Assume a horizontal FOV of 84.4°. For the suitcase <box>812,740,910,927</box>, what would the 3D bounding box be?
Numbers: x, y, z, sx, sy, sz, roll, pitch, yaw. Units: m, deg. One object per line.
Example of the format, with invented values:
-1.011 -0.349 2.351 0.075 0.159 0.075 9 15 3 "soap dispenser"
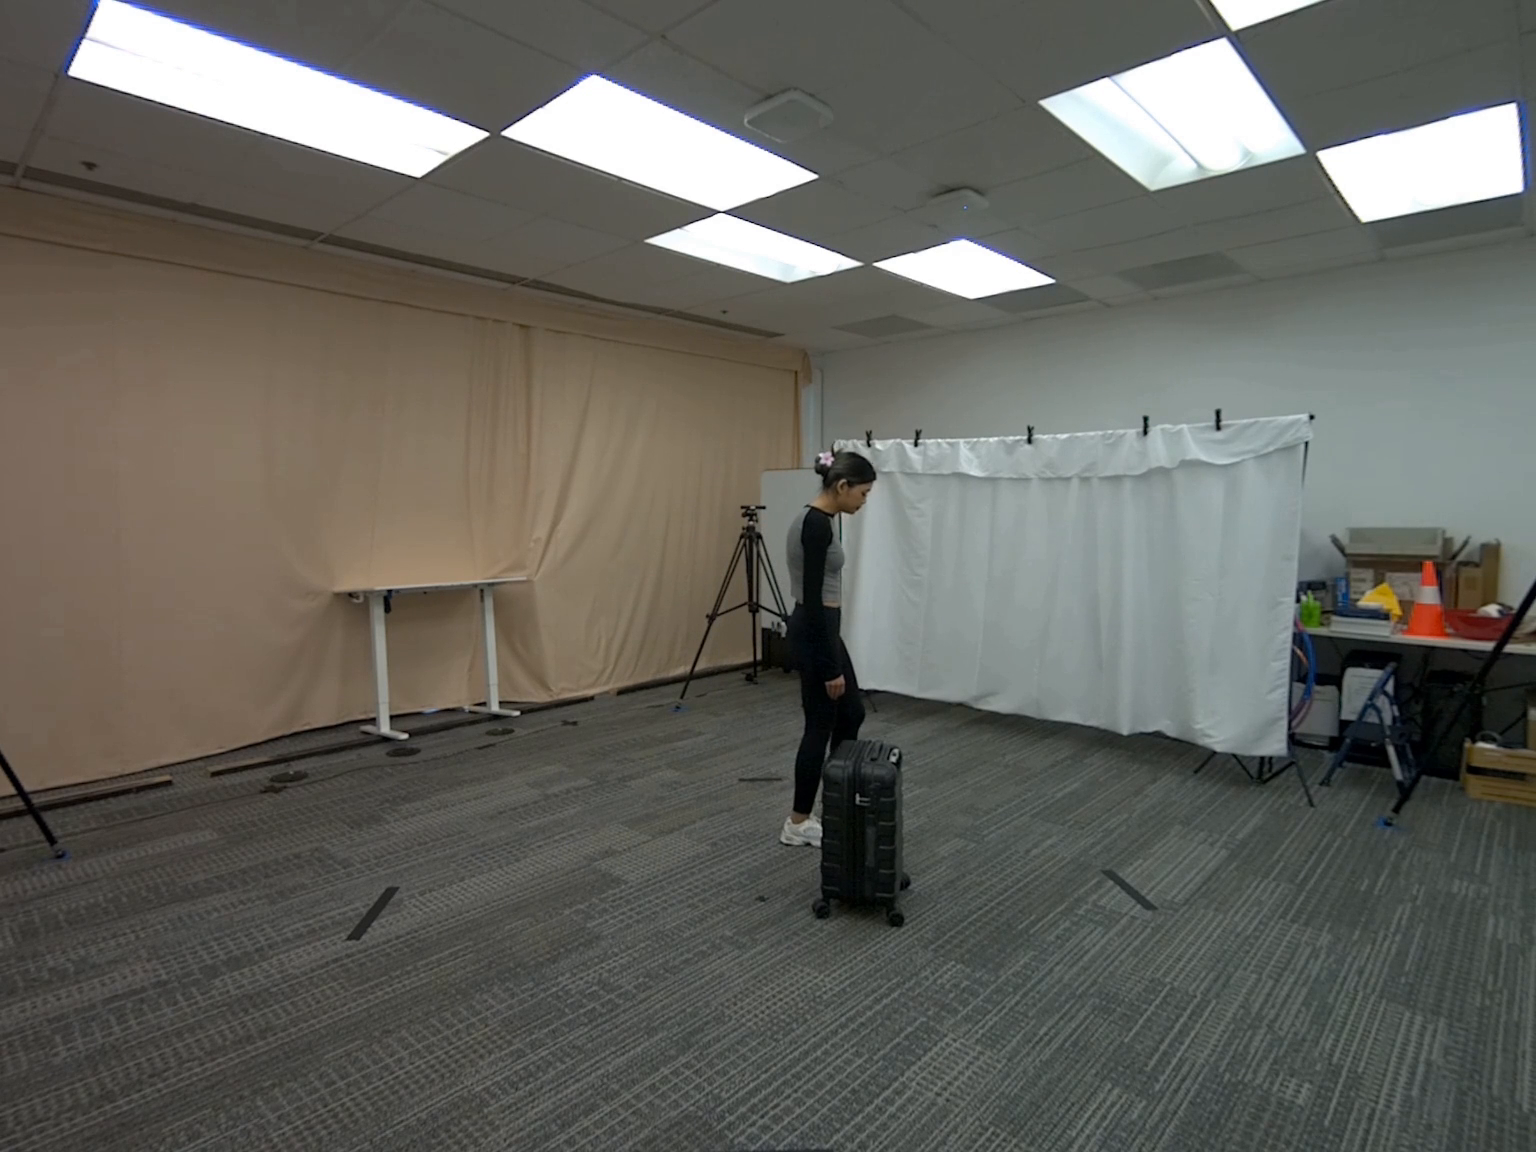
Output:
0.338 0.867 2.953 0.253 0.548 0.370 -1 4 16 "suitcase"
